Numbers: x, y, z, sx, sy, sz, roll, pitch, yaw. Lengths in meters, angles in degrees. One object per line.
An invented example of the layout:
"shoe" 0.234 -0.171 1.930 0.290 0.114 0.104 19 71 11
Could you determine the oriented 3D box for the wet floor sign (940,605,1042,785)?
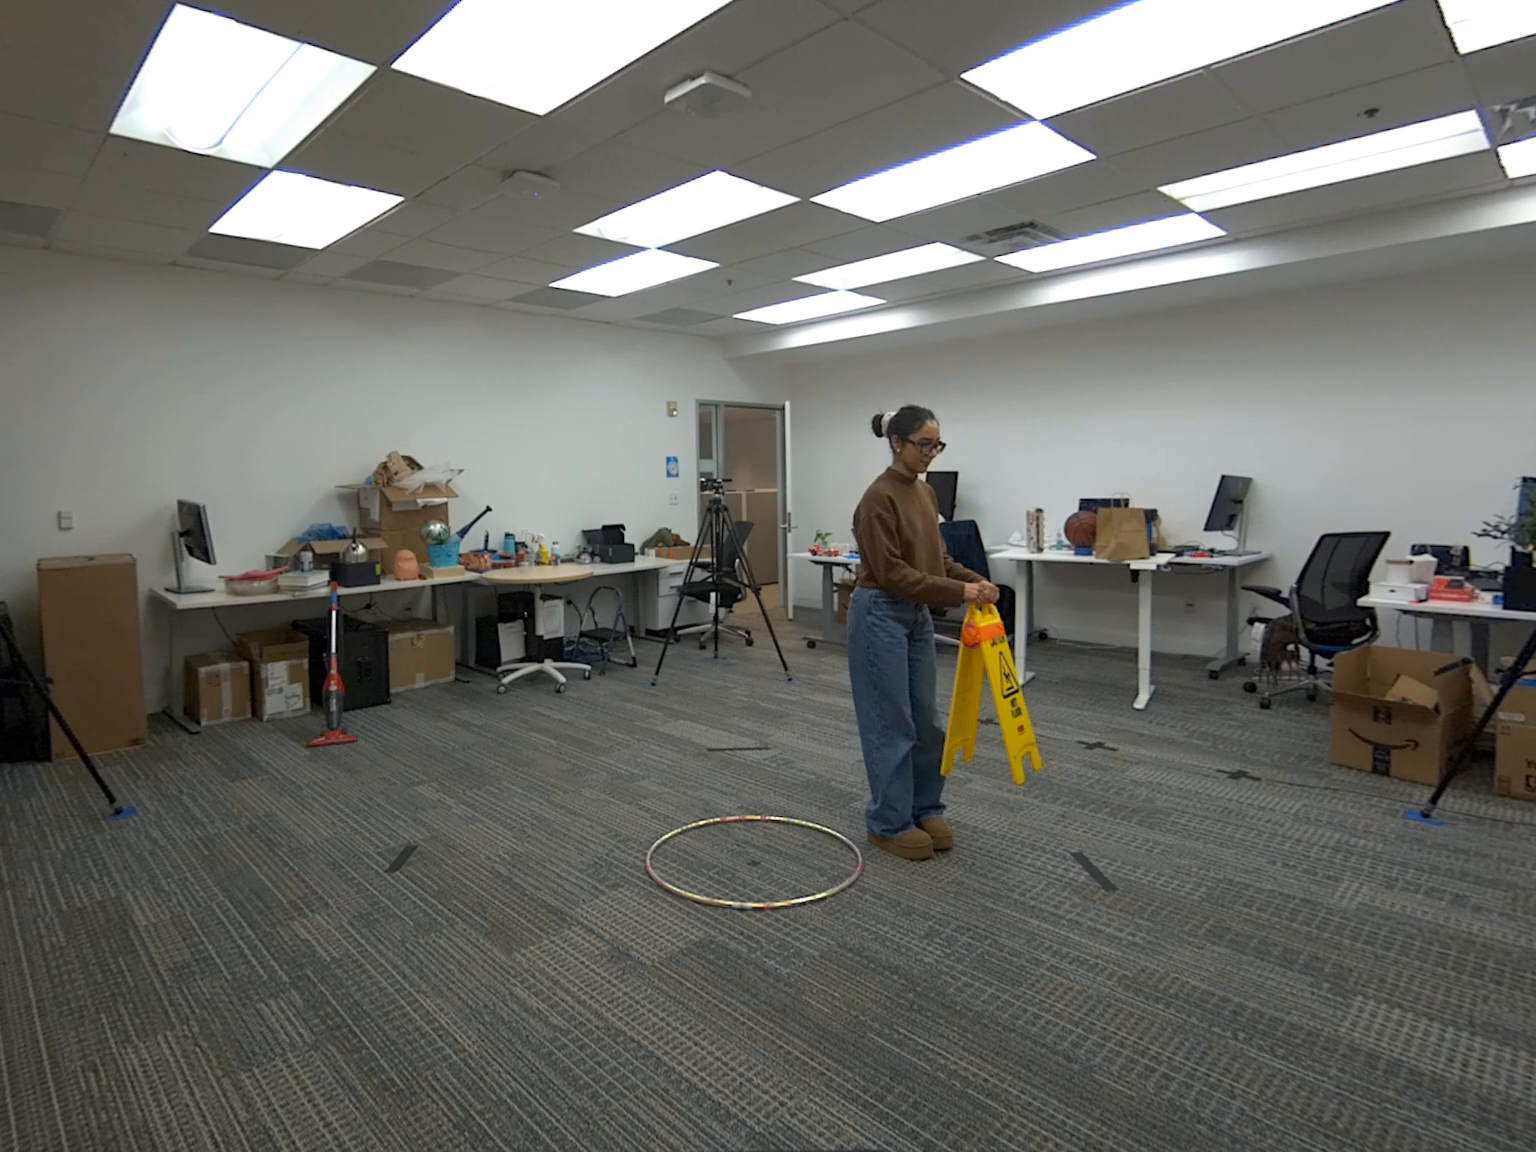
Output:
"wet floor sign" 0.791 0.384 3.089 0.297 0.646 0.275 -4 1 37
